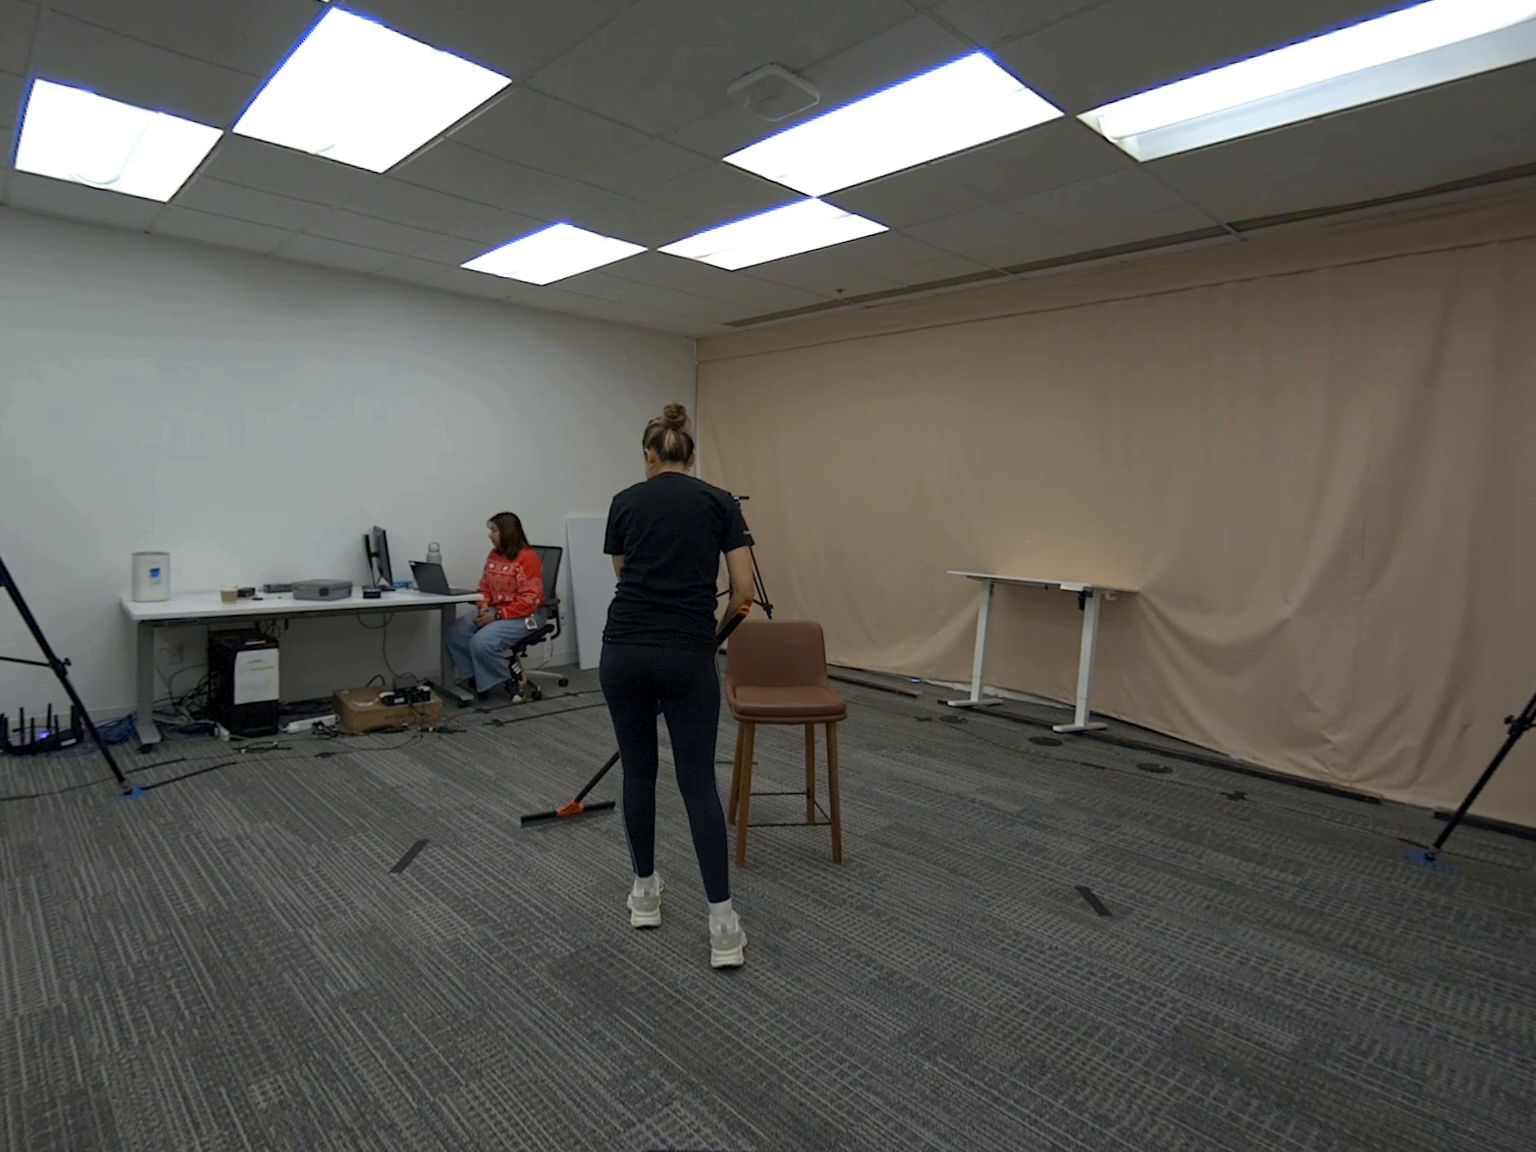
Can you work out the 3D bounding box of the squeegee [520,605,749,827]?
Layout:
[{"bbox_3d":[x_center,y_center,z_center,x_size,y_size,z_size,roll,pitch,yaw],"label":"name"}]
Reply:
[{"bbox_3d":[-0.458,0.535,3.114,0.427,0.054,1.533,0,-38,-39],"label":"squeegee"}]
